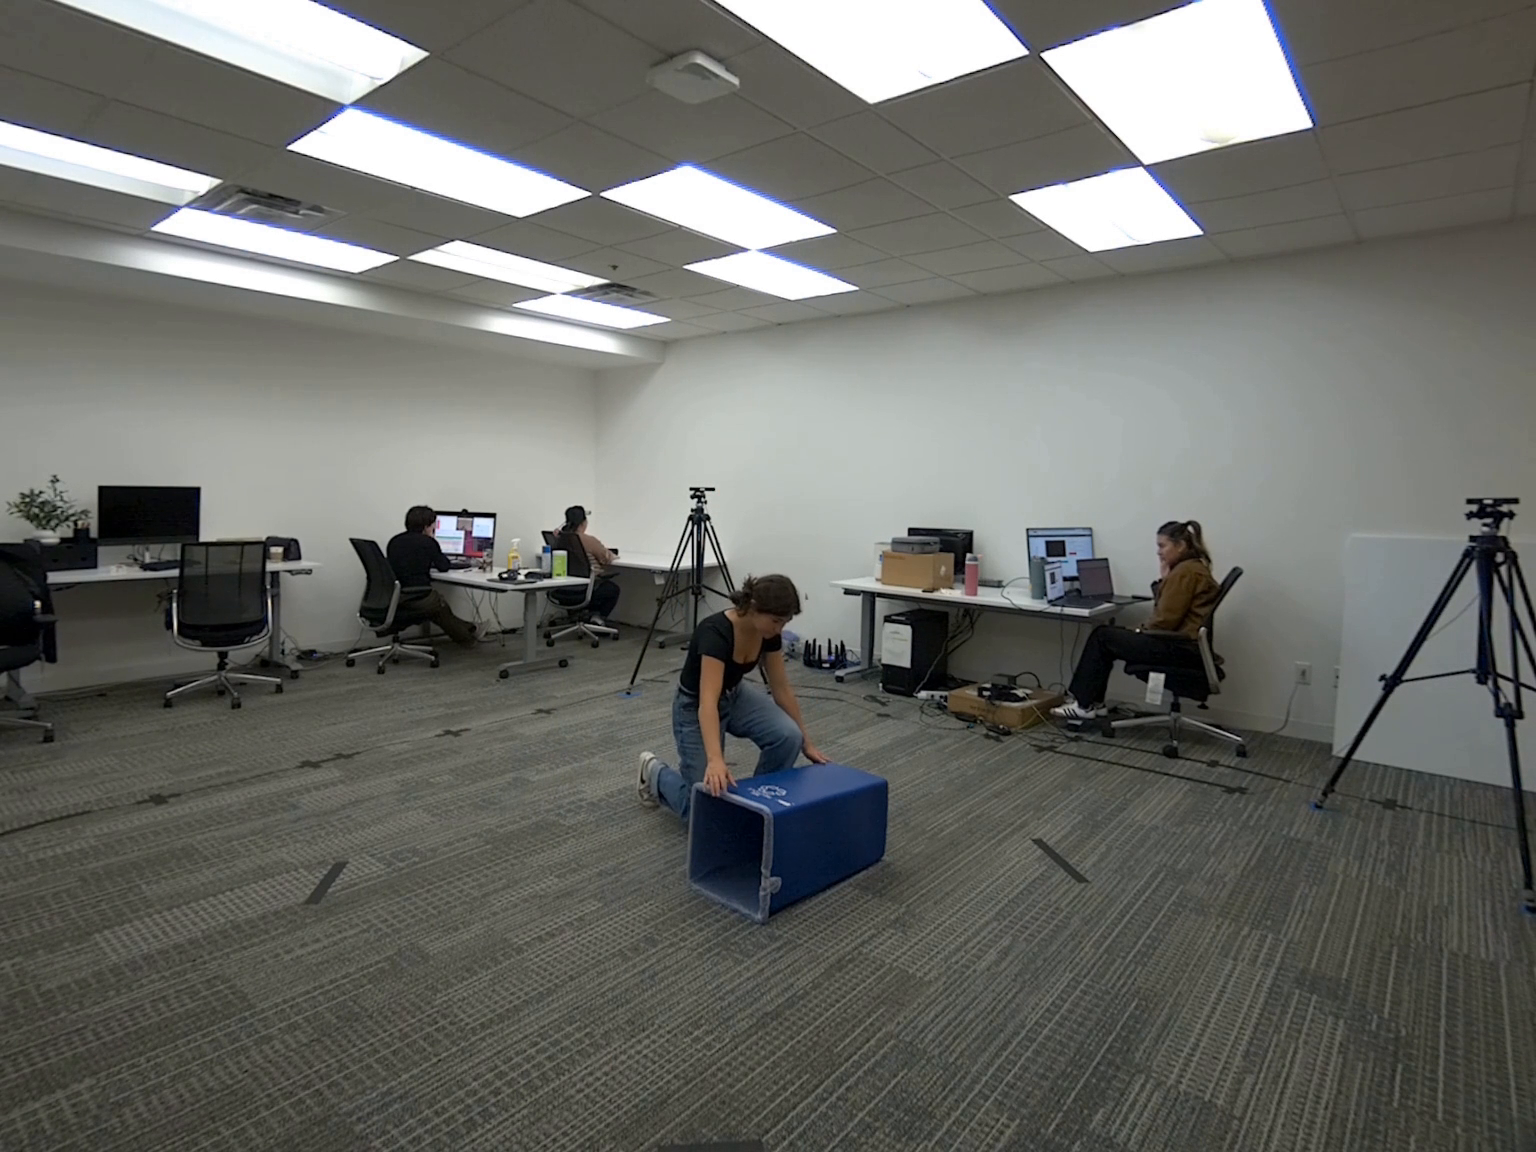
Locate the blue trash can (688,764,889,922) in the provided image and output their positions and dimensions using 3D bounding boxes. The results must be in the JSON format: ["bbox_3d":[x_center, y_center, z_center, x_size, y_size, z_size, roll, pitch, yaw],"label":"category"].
[{"bbox_3d":[0.089,0.909,3.072,0.387,0.377,0.690,5,3,44],"label":"blue trash can"}]
